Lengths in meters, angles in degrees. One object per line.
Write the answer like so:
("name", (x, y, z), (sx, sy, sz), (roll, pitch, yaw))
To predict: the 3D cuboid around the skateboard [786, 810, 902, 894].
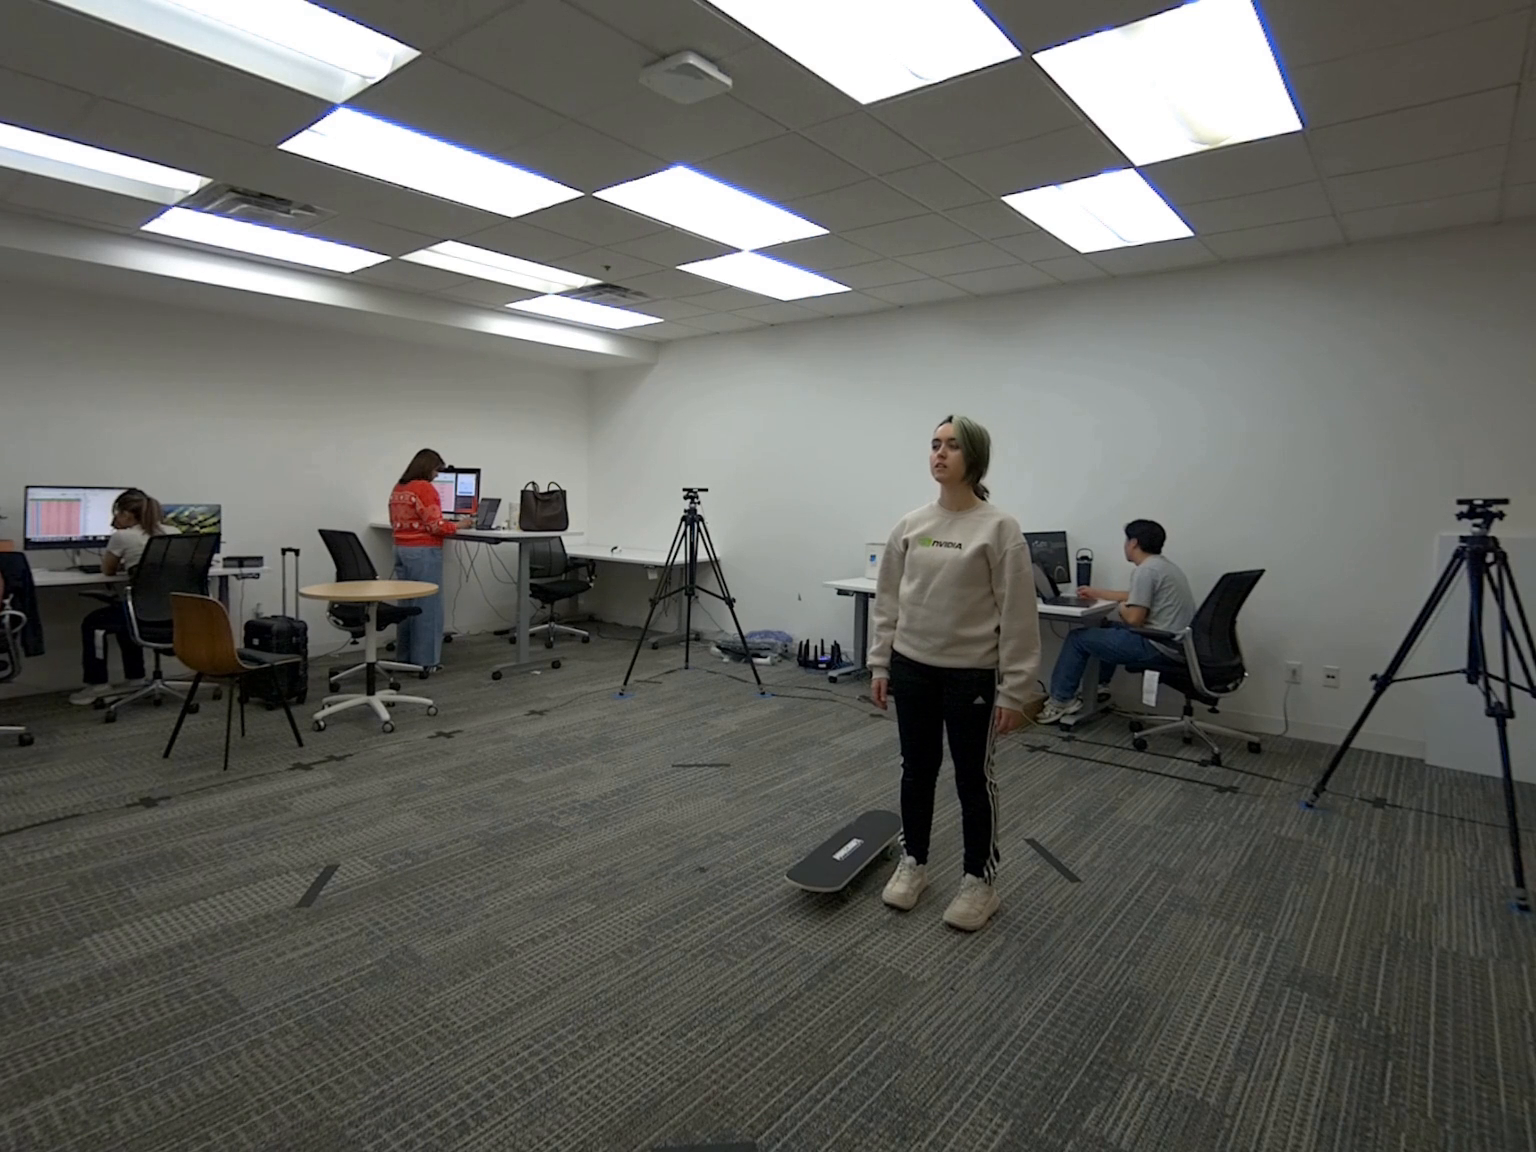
("skateboard", (0.292, 1.026, 3.104), (0.199, 0.110, 0.766), (5, 7, 29))
